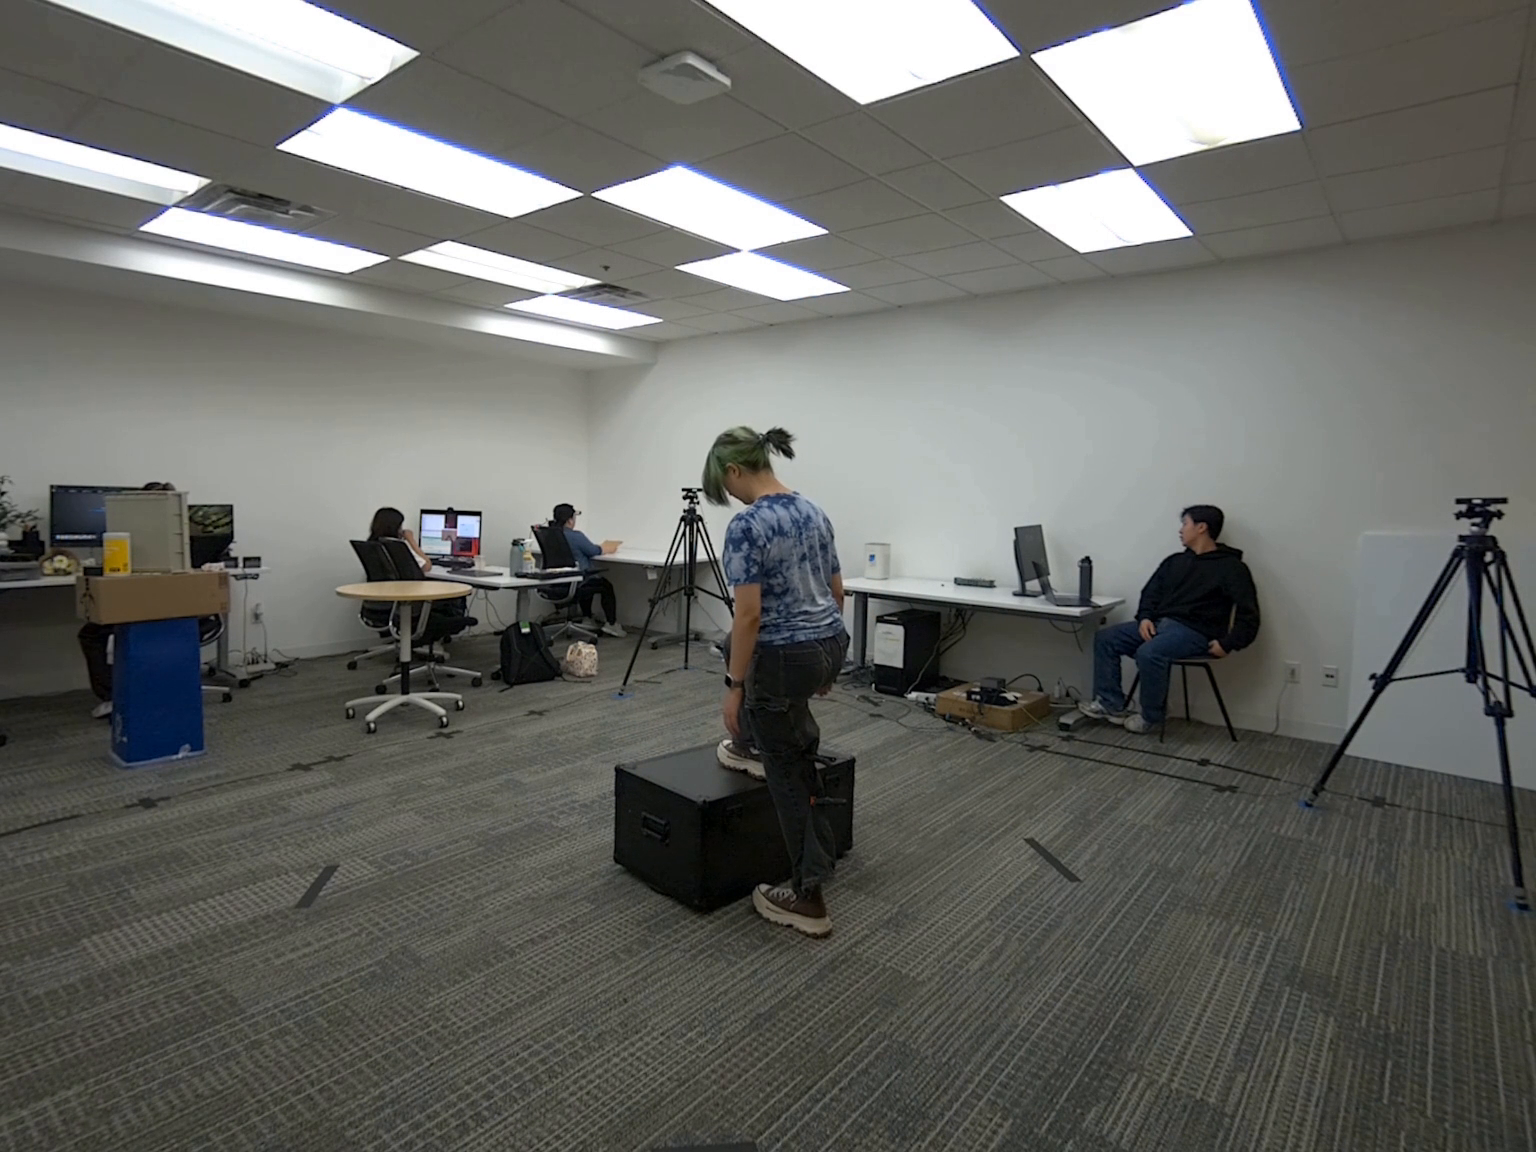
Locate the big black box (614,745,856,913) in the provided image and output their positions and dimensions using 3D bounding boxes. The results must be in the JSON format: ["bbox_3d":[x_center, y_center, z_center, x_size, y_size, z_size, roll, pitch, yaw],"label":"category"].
[{"bbox_3d":[-0.099,0.873,3.190,0.836,0.395,0.539,-4,7,-44],"label":"big black box"}]
